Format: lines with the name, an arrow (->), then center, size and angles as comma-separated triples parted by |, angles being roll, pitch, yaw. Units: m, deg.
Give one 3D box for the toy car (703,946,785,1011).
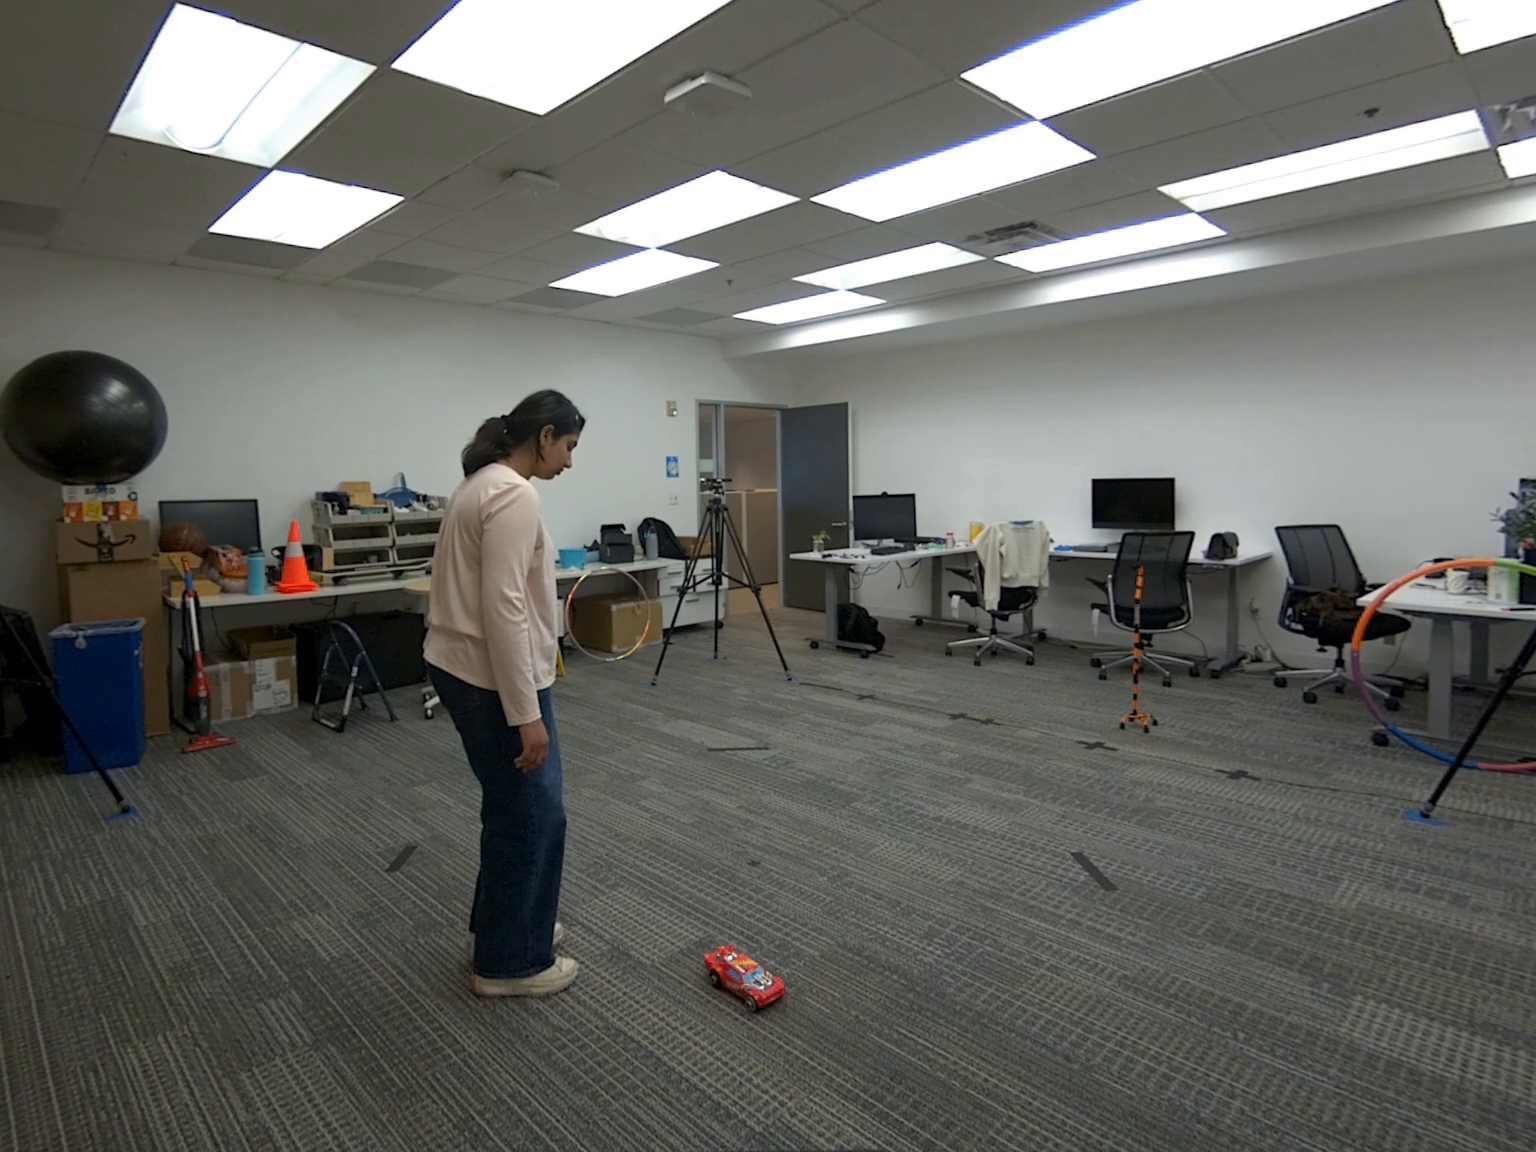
toy car -> -0.068, 1.097, 2.348 | 0.127, 0.082, 0.264 | -7, 19, -40
